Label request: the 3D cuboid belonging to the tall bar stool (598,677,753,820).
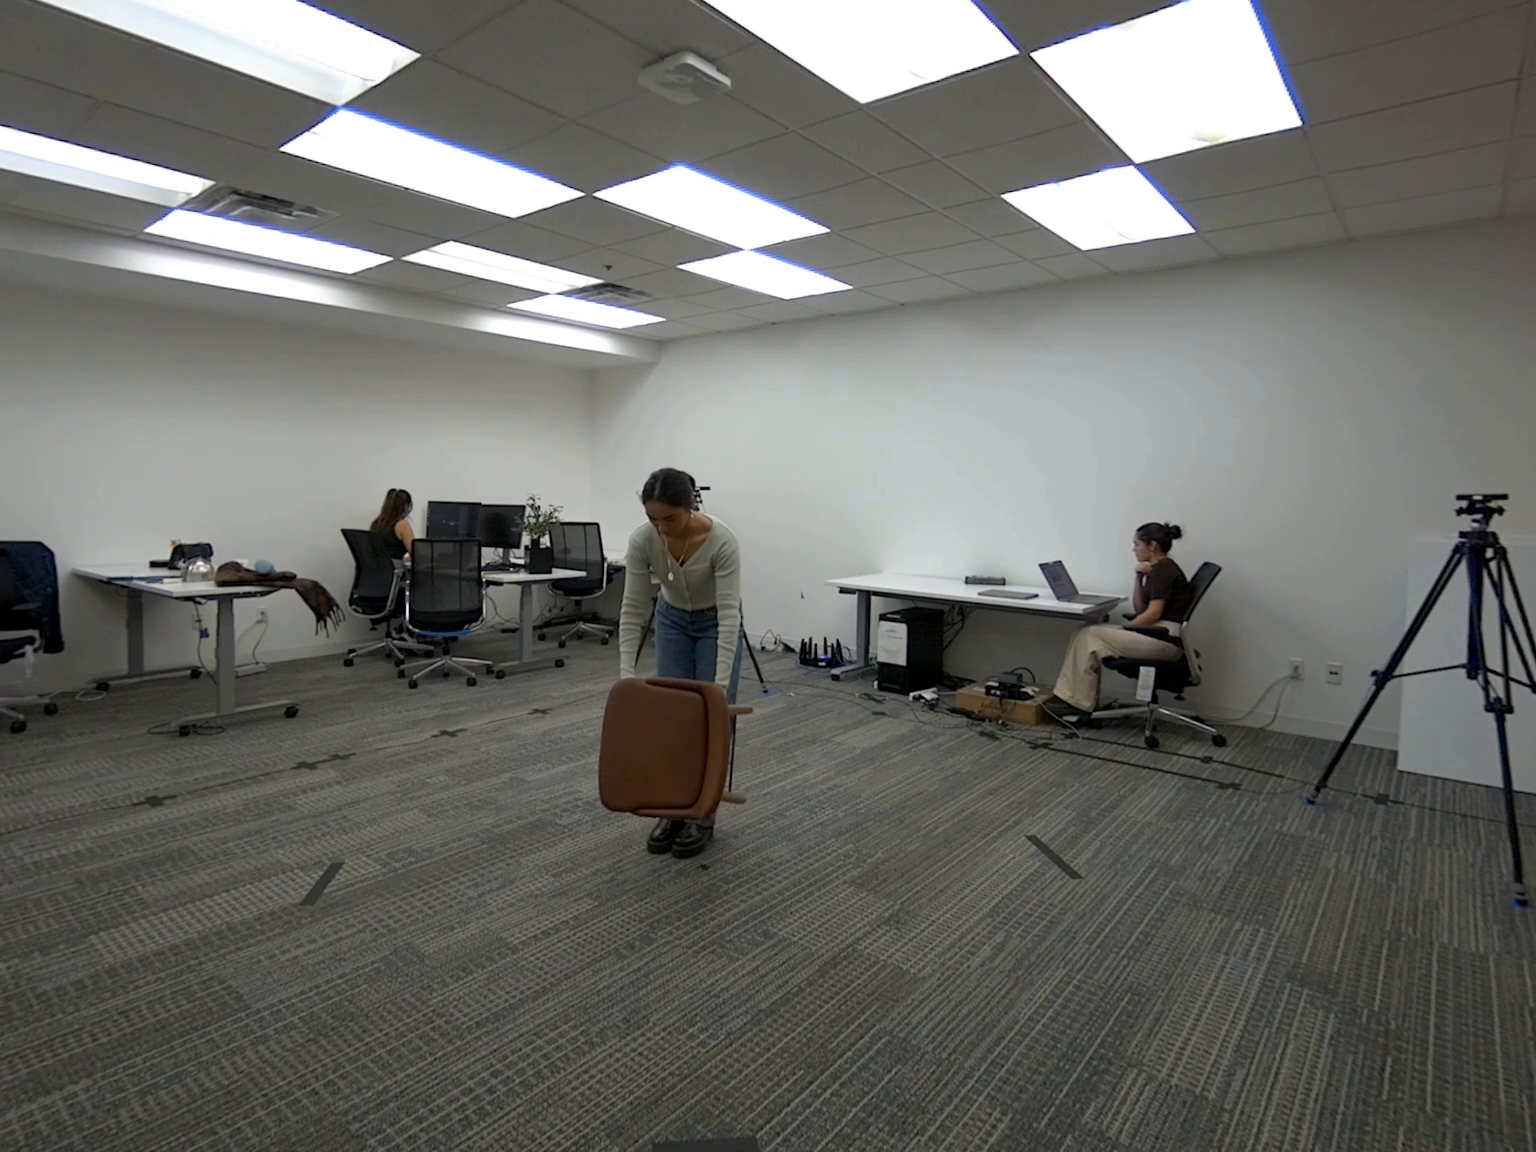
[{"bbox_3d":[-0.337,0.603,3.006,0.471,0.461,0.873,4,-12,5],"label":"tall bar stool"}]
